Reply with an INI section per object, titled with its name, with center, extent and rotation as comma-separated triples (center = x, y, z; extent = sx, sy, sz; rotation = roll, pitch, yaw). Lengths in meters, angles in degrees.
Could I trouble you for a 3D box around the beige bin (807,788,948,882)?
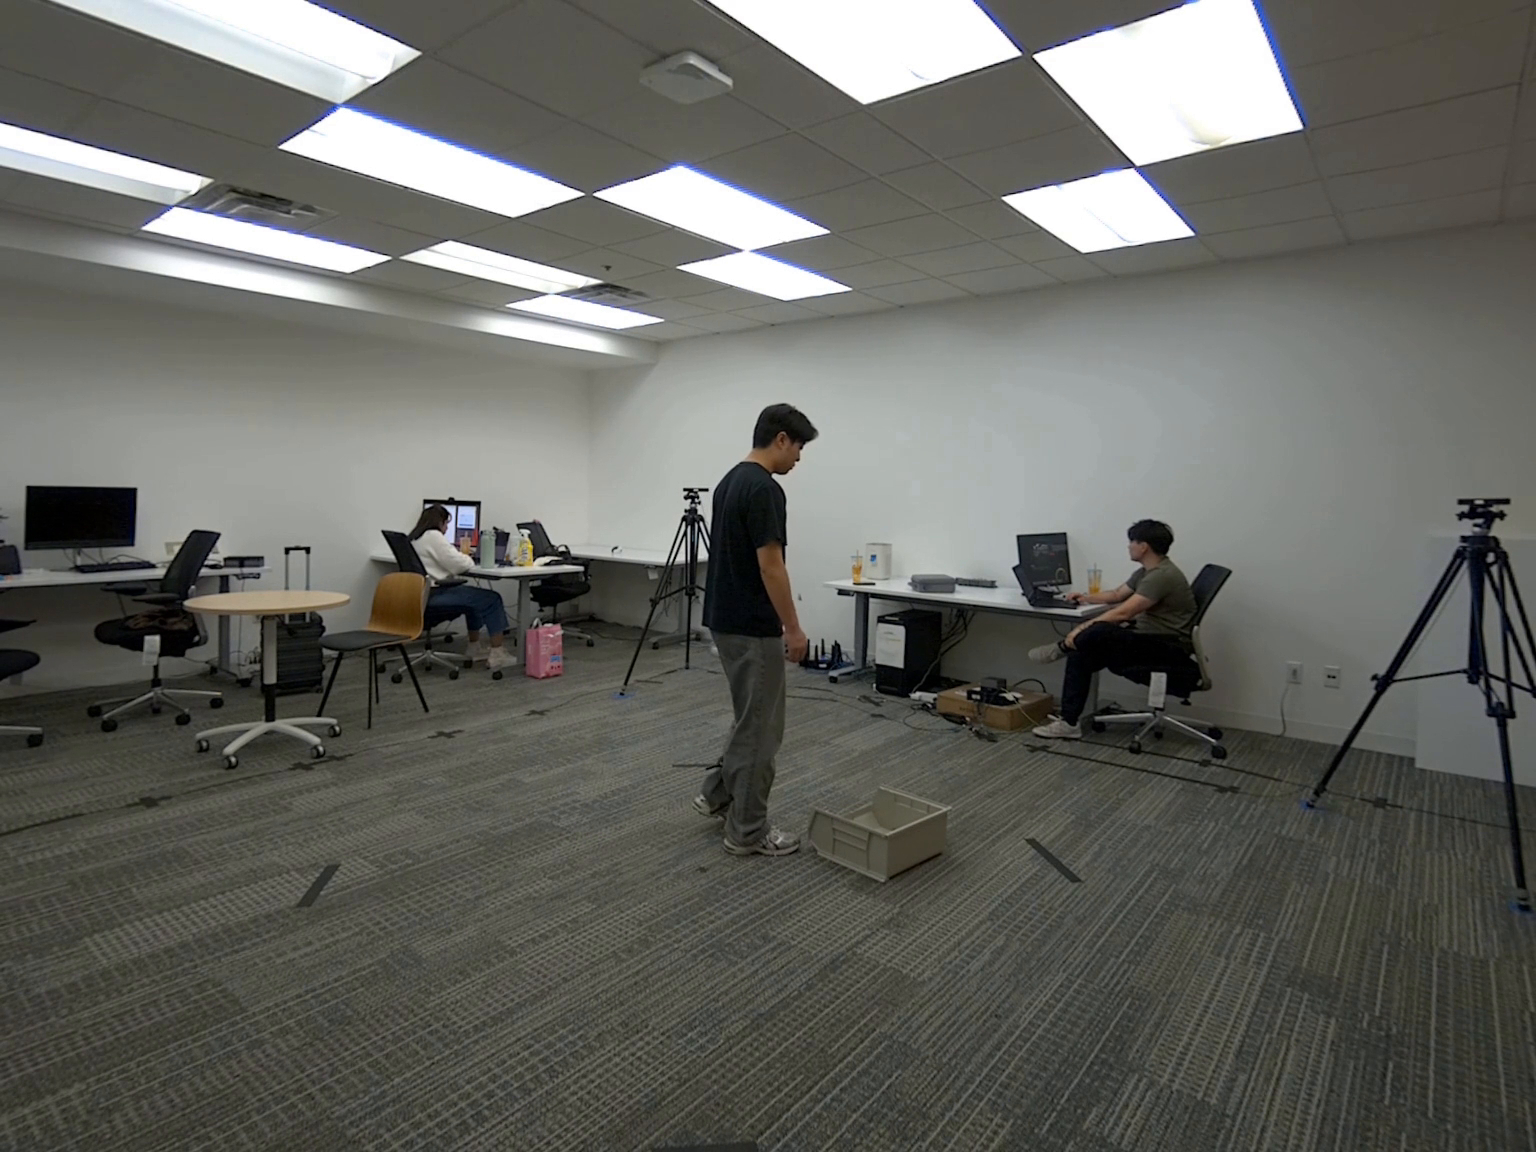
[beige bin]
center = 0.423, 0.974, 3.294
extent = 0.390, 0.188, 0.409
rotation = 7, 8, 45
